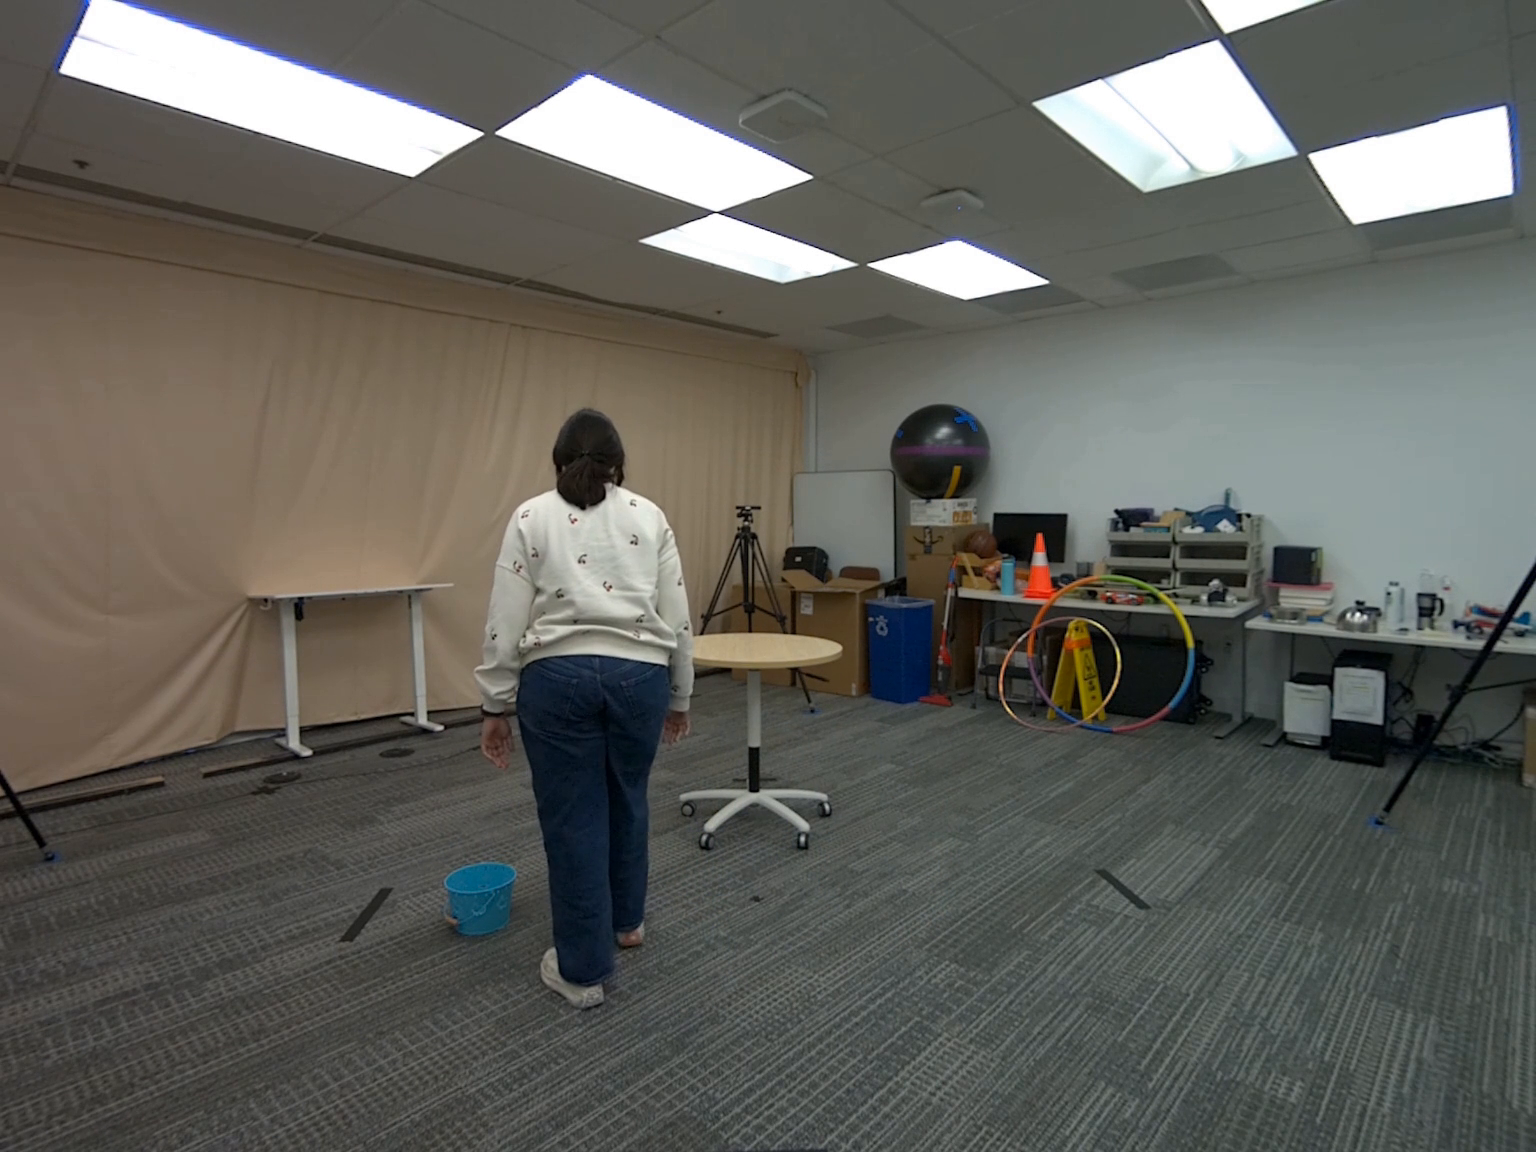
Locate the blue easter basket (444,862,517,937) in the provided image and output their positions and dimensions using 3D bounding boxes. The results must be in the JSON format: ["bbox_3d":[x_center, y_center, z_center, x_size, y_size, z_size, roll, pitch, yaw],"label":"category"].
[{"bbox_3d":[-0.971,1.088,2.829,0.243,0.155,0.244,-1,4,-2],"label":"blue easter basket"}]
